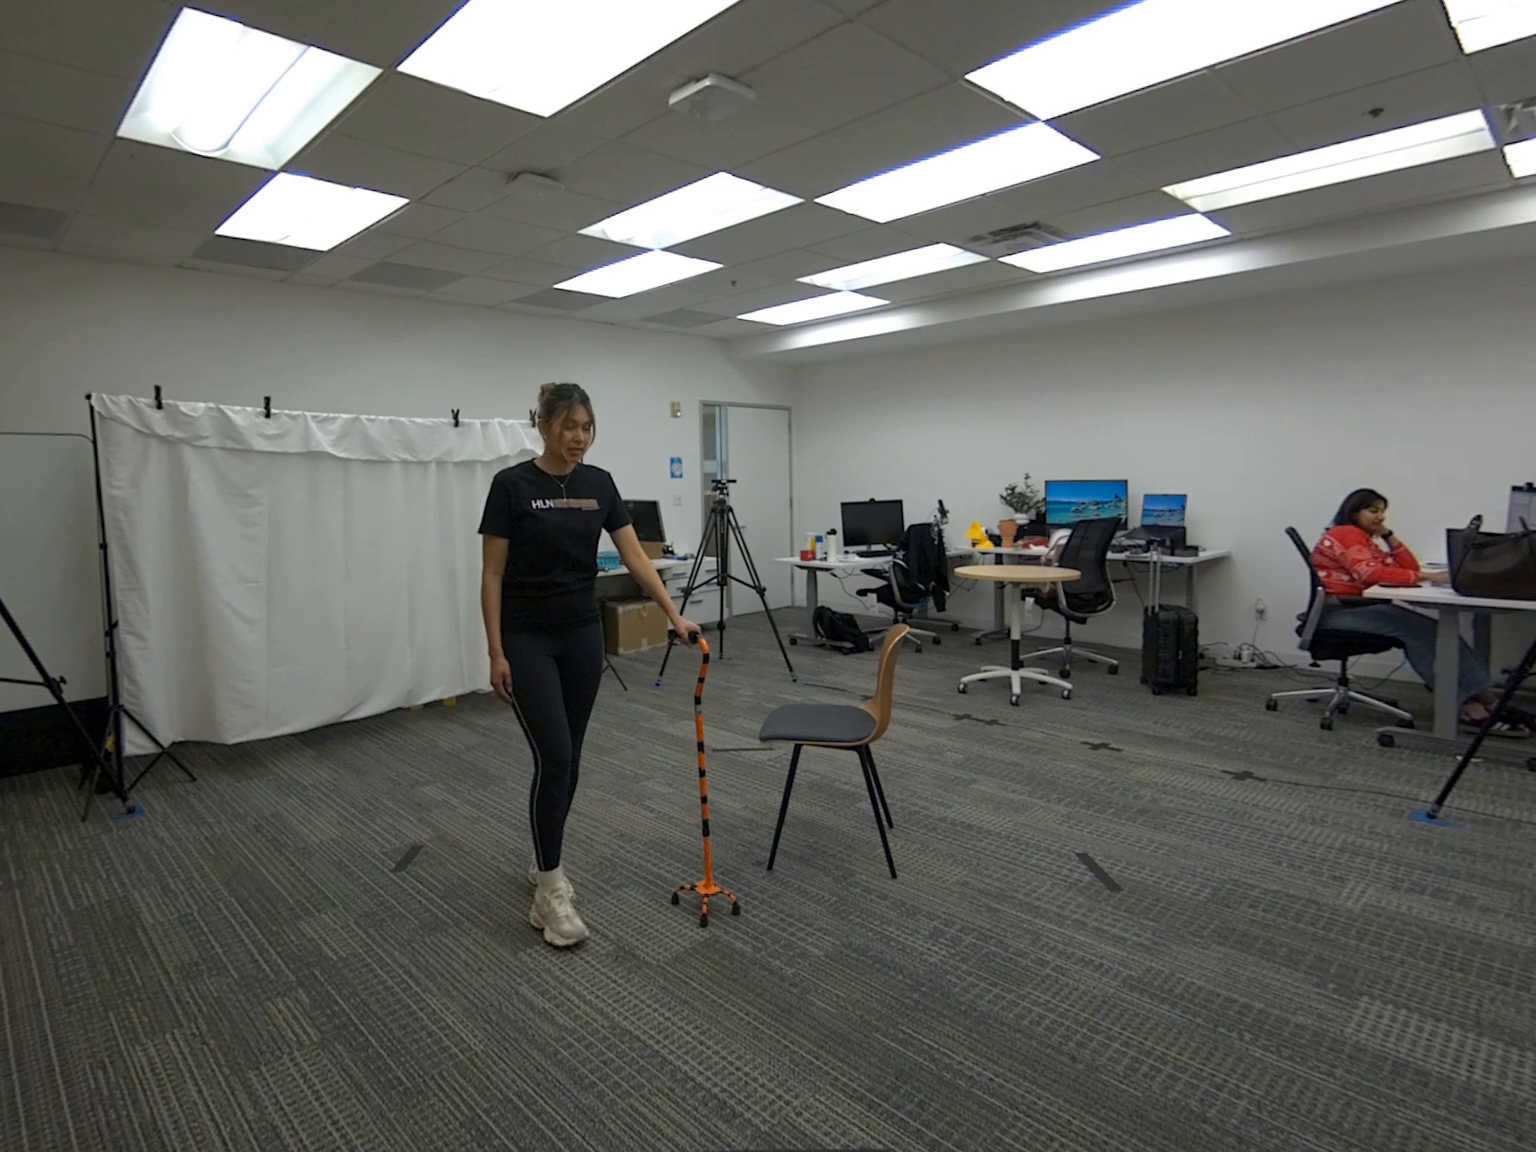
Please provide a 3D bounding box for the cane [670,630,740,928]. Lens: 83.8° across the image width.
[{"bbox_3d":[-0.221,0.630,2.769,0.148,0.905,0.212,-4,4,-33],"label":"cane"}]
